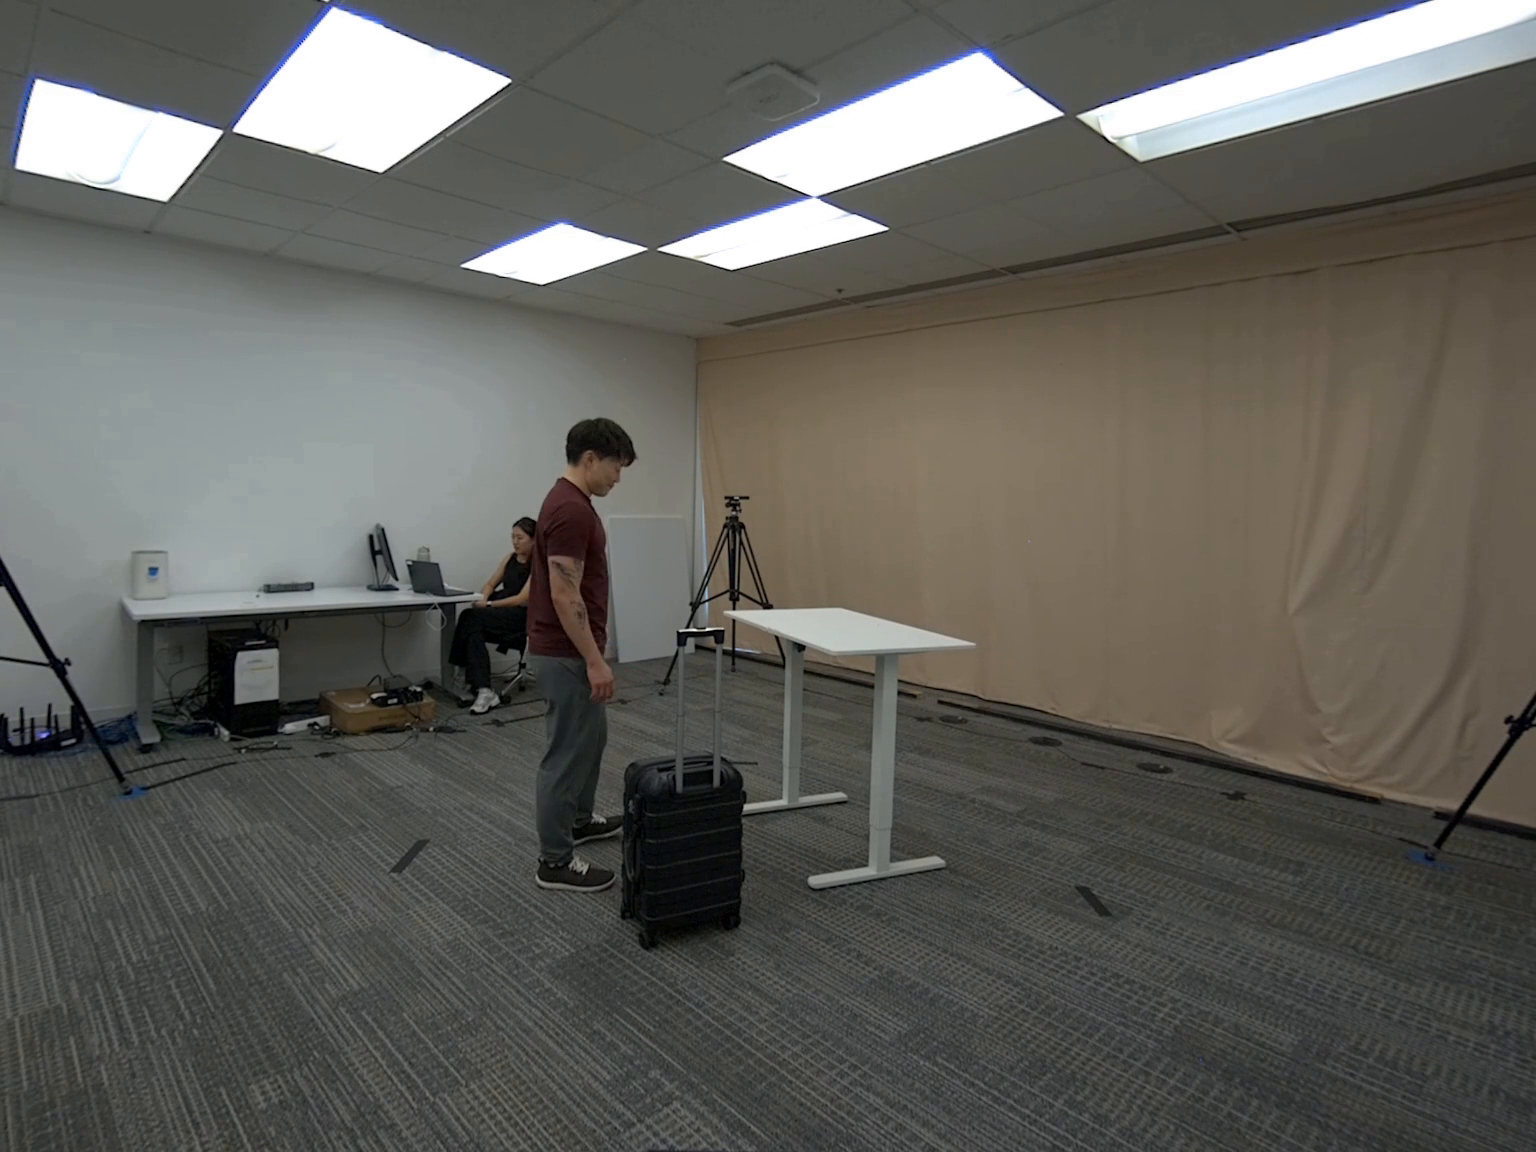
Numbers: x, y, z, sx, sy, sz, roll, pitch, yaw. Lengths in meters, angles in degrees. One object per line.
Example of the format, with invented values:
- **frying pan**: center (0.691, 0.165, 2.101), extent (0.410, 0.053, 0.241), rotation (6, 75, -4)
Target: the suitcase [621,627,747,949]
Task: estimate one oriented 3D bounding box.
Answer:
- **suitcase**: center (-0.279, 0.657, 2.707), extent (0.377, 0.977, 0.262), rotation (0, 2, -23)
